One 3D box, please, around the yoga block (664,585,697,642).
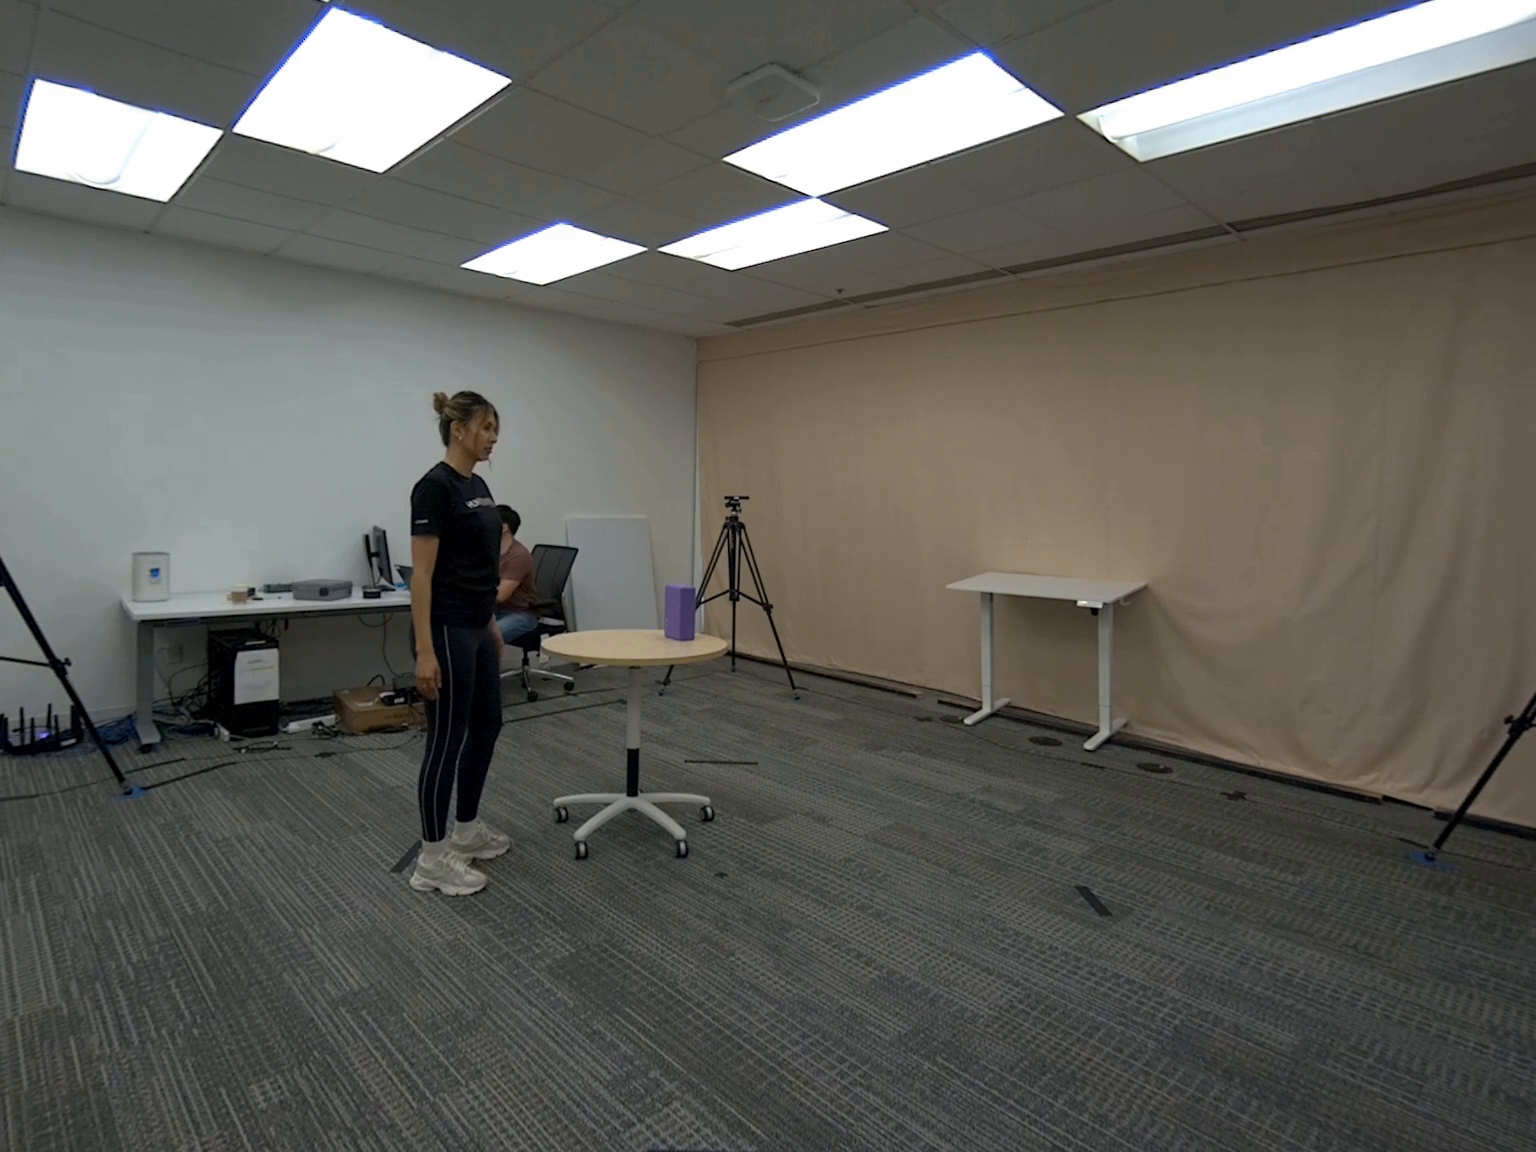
[{"bbox_3d":[-0.388,0.154,3.620,0.075,0.229,0.152,0,3,-34],"label":"yoga block"}]
